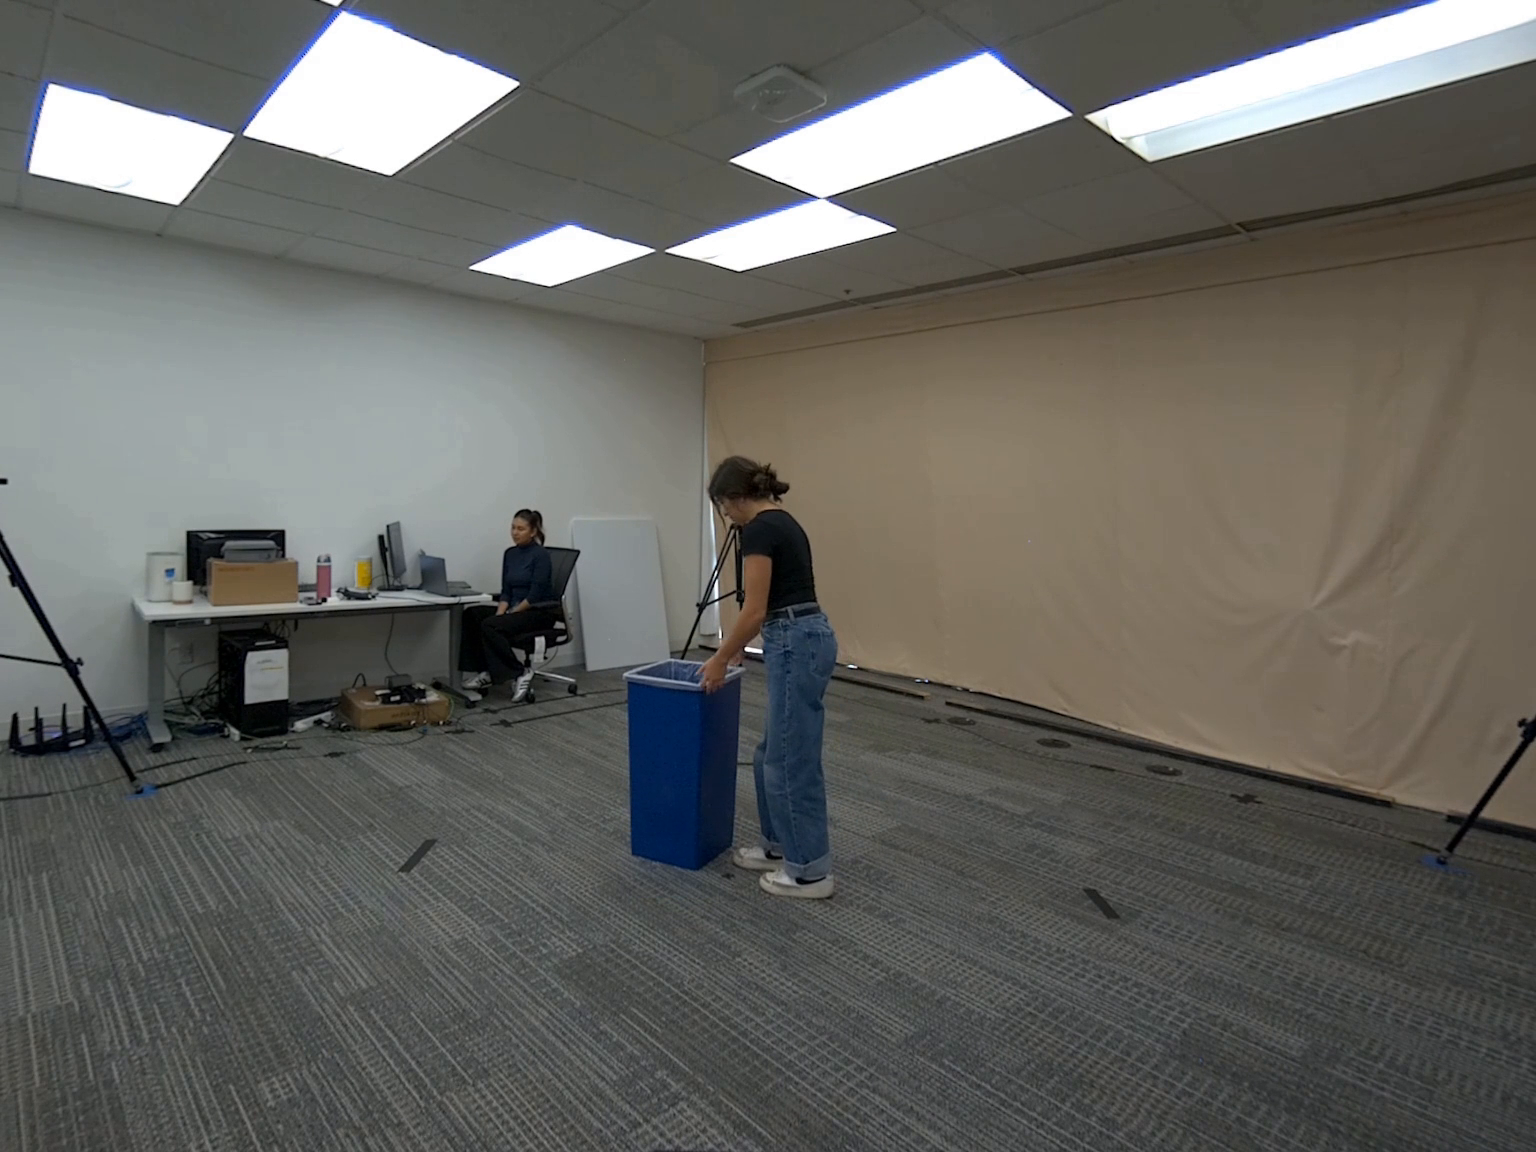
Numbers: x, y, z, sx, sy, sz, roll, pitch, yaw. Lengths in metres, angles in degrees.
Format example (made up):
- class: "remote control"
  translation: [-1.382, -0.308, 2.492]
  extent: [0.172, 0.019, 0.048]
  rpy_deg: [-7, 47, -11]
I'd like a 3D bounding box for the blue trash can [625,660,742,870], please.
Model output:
- class: "blue trash can"
  translation: [-0.338, 0.727, 3.310]
  extent: [0.386, 0.712, 0.367]
  rpy_deg: [3, 3, 26]
